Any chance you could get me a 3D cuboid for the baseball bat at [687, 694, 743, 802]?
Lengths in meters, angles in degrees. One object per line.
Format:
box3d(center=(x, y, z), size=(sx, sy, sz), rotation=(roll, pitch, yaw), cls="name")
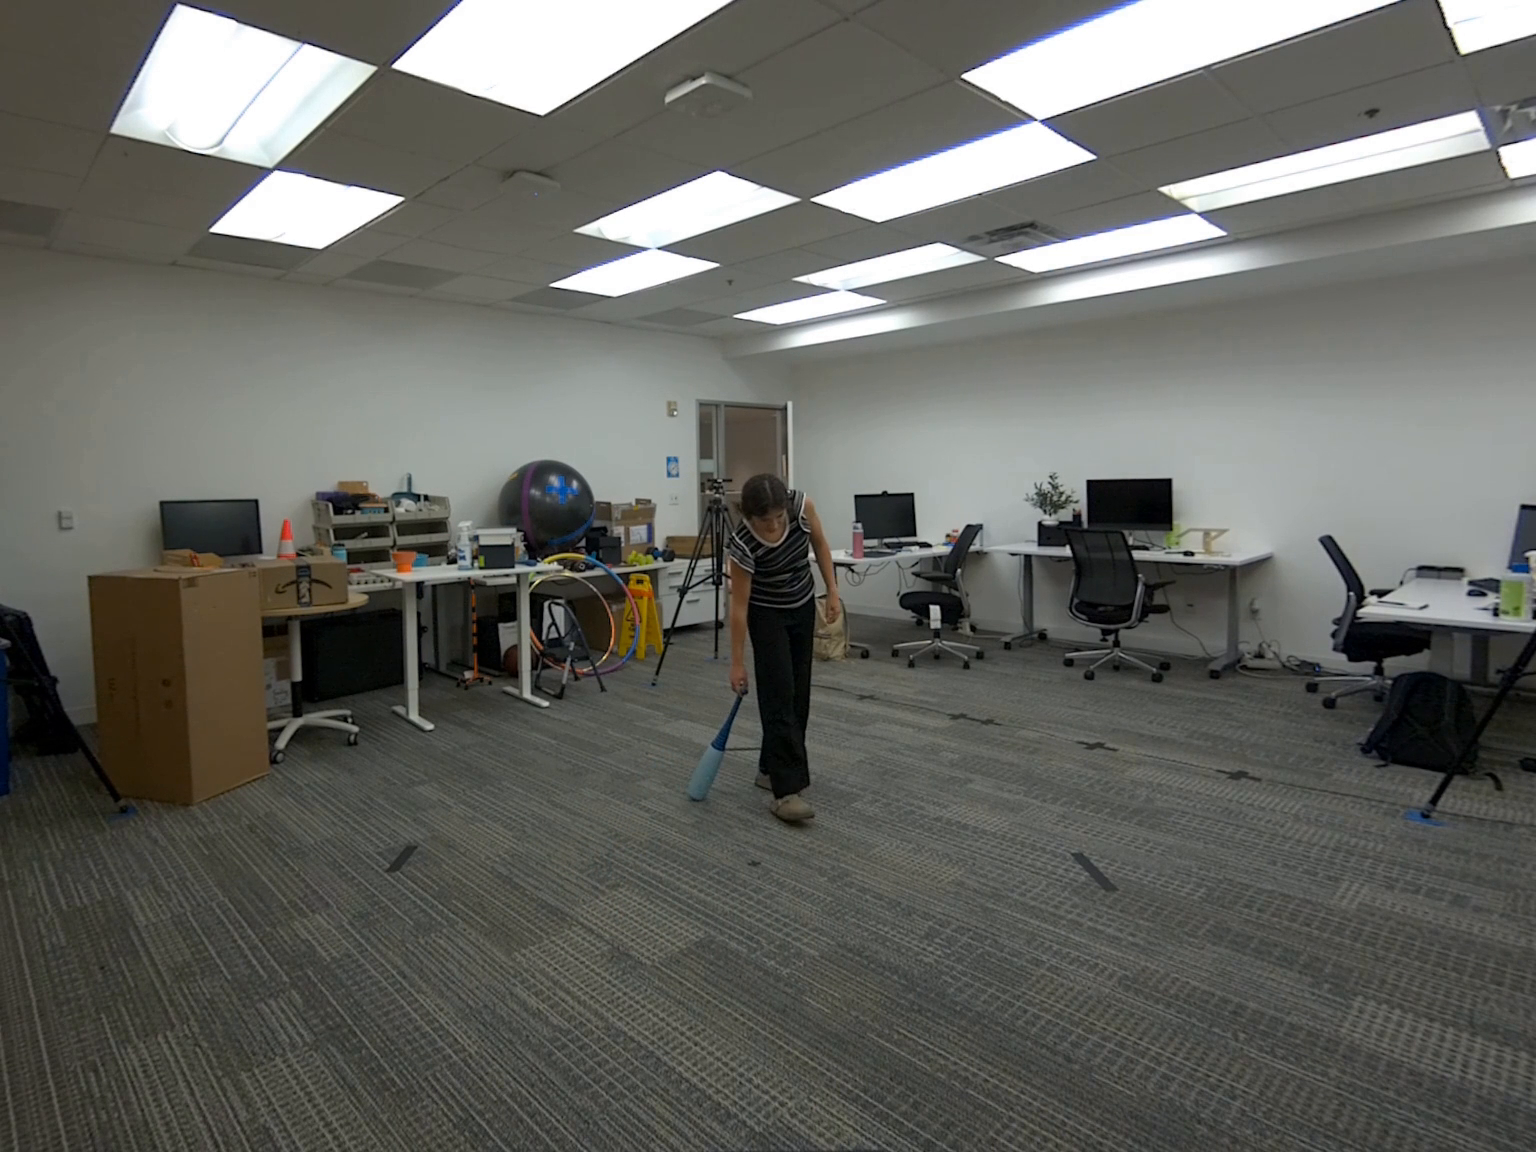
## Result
box3d(center=(-0.204, 0.731, 3.709), size=(0.088, 0.541, 0.090), rotation=(24, 10, -6), cls="baseball bat")
